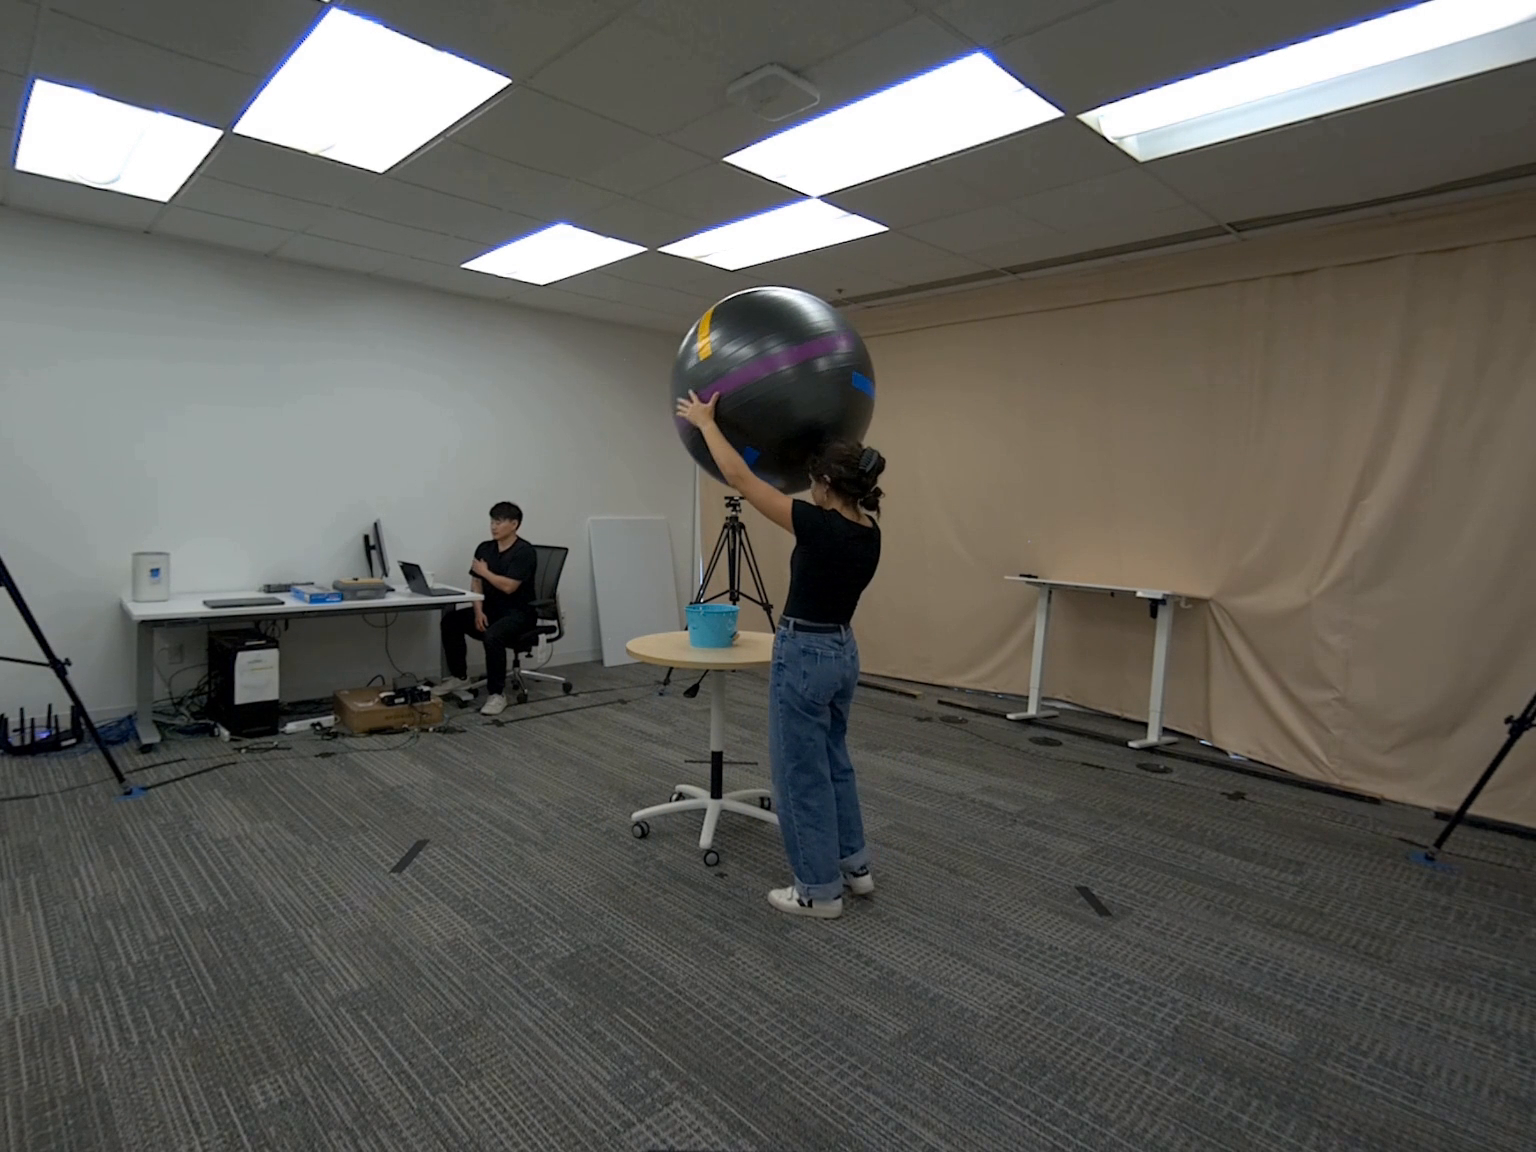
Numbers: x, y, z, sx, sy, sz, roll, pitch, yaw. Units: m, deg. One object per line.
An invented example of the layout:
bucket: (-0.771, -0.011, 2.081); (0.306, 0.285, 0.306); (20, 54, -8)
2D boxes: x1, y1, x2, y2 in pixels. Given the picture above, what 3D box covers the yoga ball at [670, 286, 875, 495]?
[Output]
yoga ball: (0.016, -0.673, 3.125); (0.757, 0.756, 0.761); (1, 4, -1)
